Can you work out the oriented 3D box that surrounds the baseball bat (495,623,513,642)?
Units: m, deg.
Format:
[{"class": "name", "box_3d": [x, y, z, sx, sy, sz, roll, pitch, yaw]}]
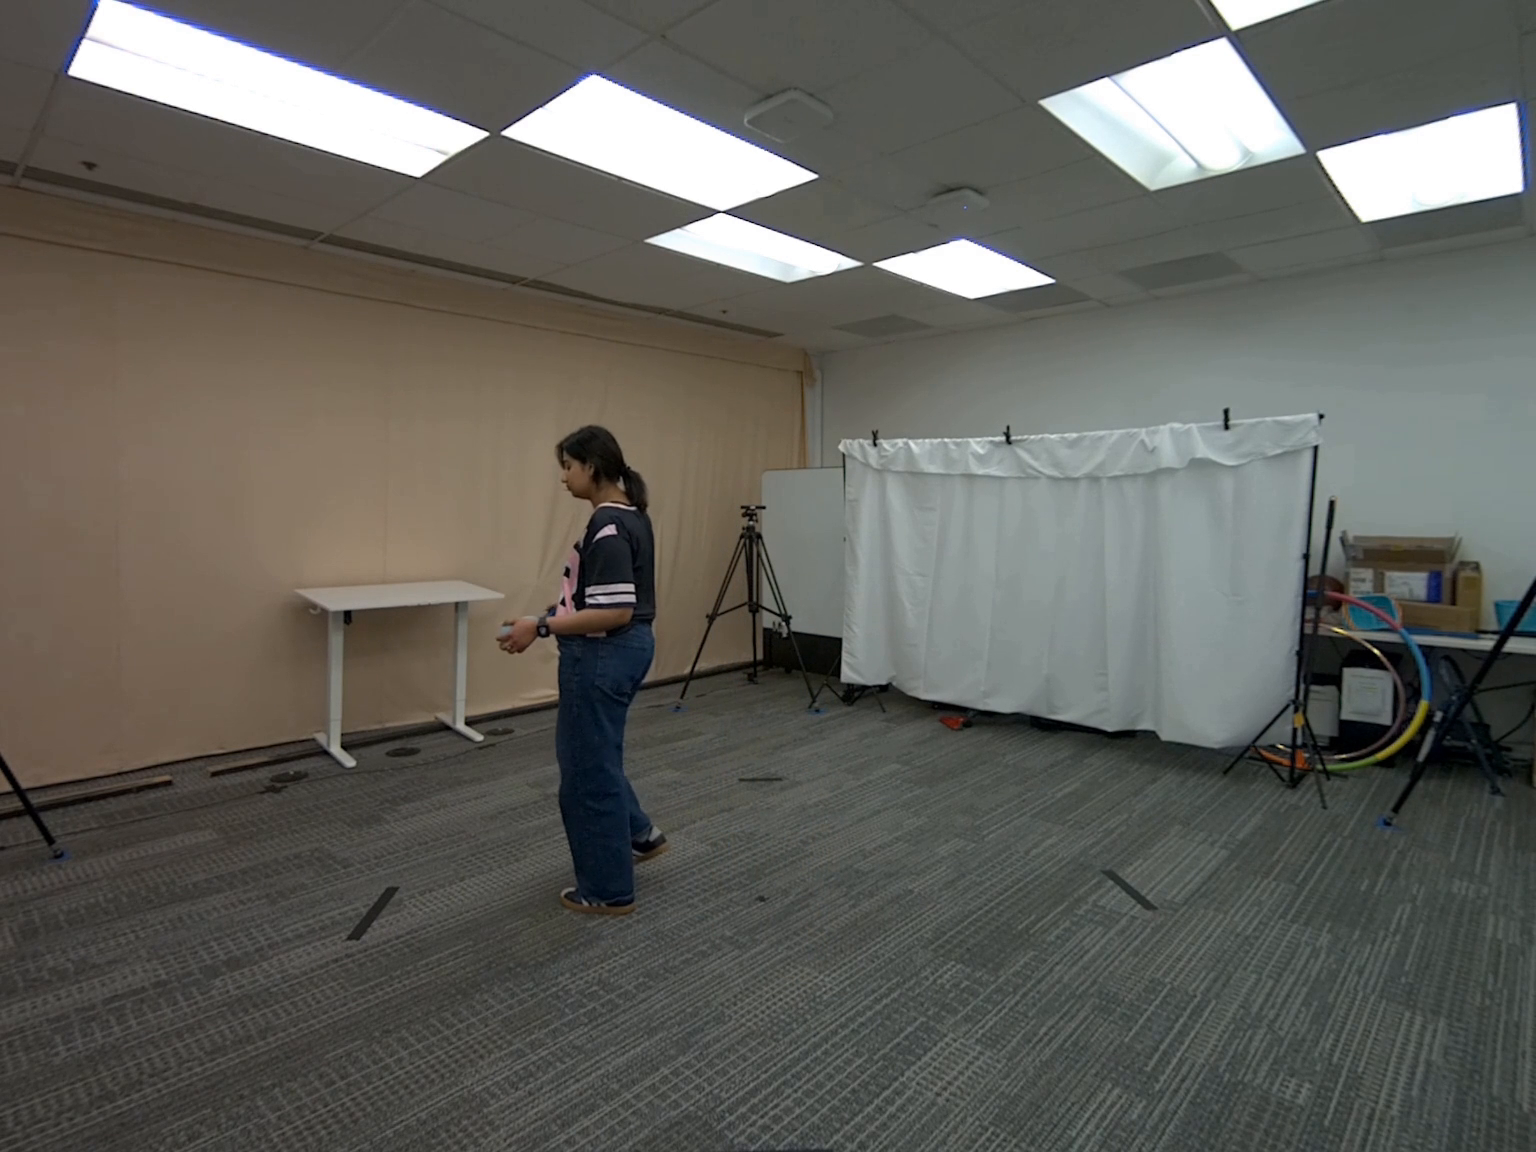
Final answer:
[{"class": "baseball bat", "box_3d": [-0.818, 0.170, 2.944, 0.089, 0.089, 0.545, 0, 6, -3]}]
